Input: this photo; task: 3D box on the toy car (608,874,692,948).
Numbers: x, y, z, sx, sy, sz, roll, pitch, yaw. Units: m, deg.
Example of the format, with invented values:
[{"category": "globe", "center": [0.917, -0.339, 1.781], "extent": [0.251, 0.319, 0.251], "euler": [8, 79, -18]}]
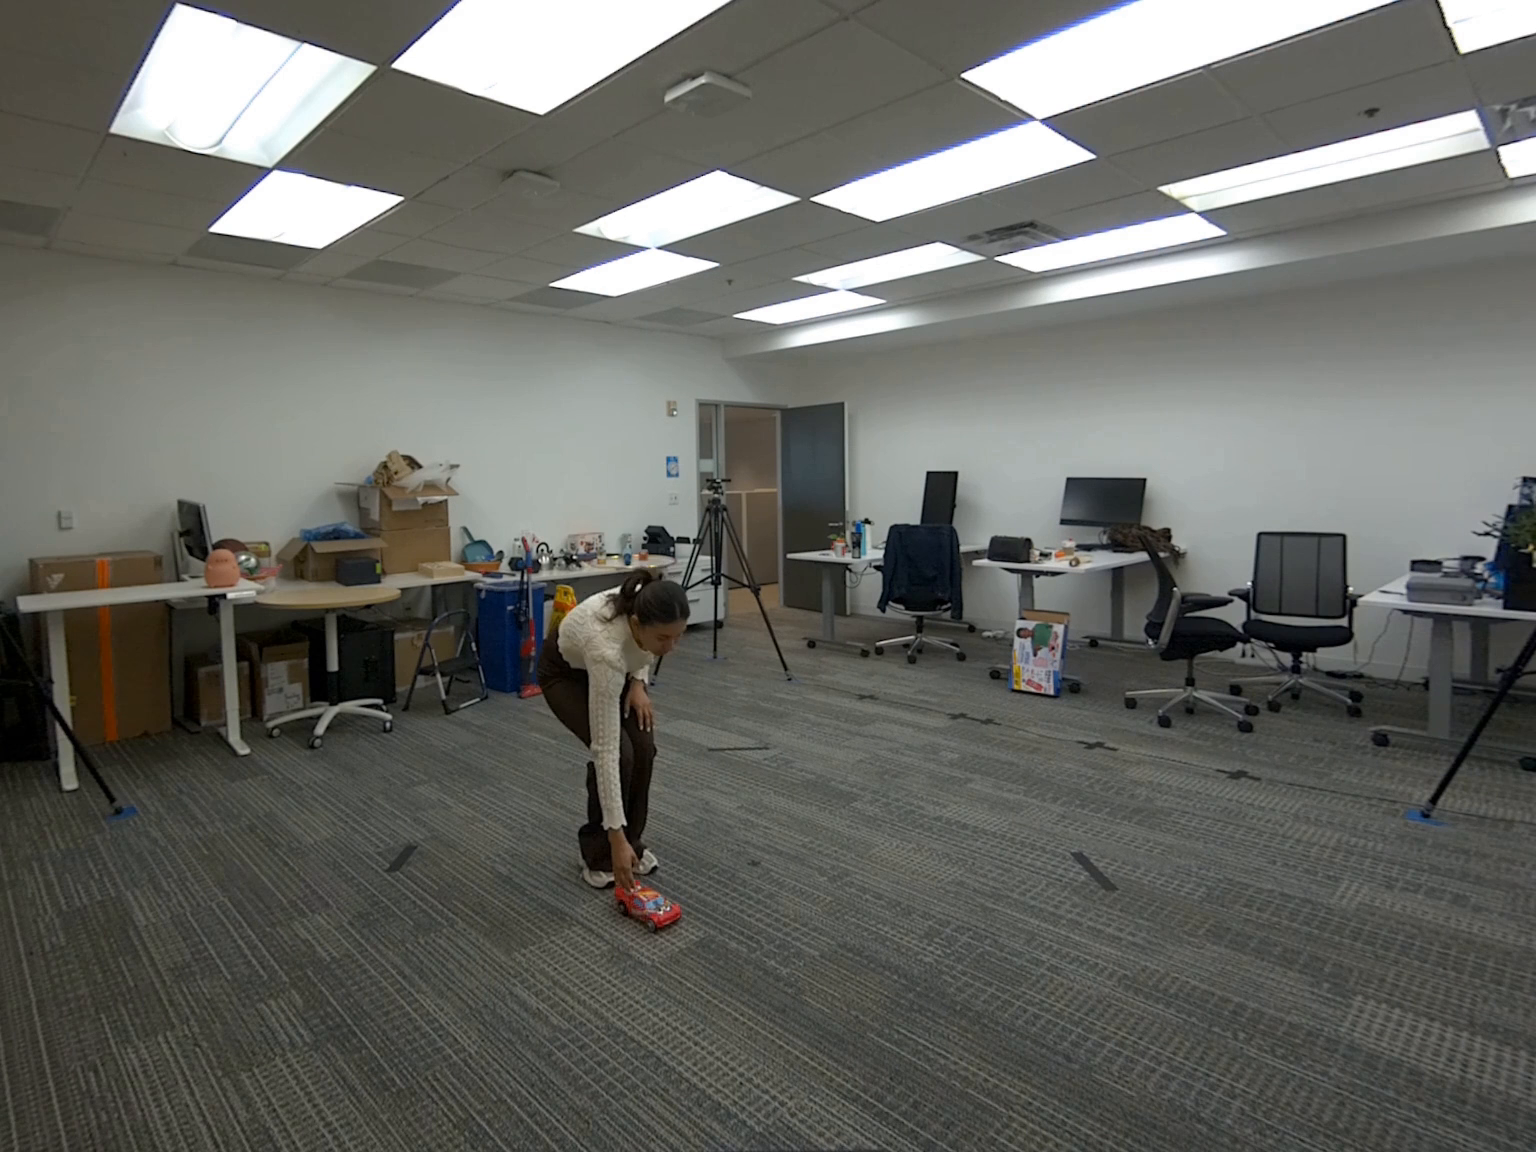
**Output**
[{"category": "toy car", "center": [-0.384, 1.058, 2.750], "extent": [0.127, 0.082, 0.264], "euler": [-8, 20, -43]}]
